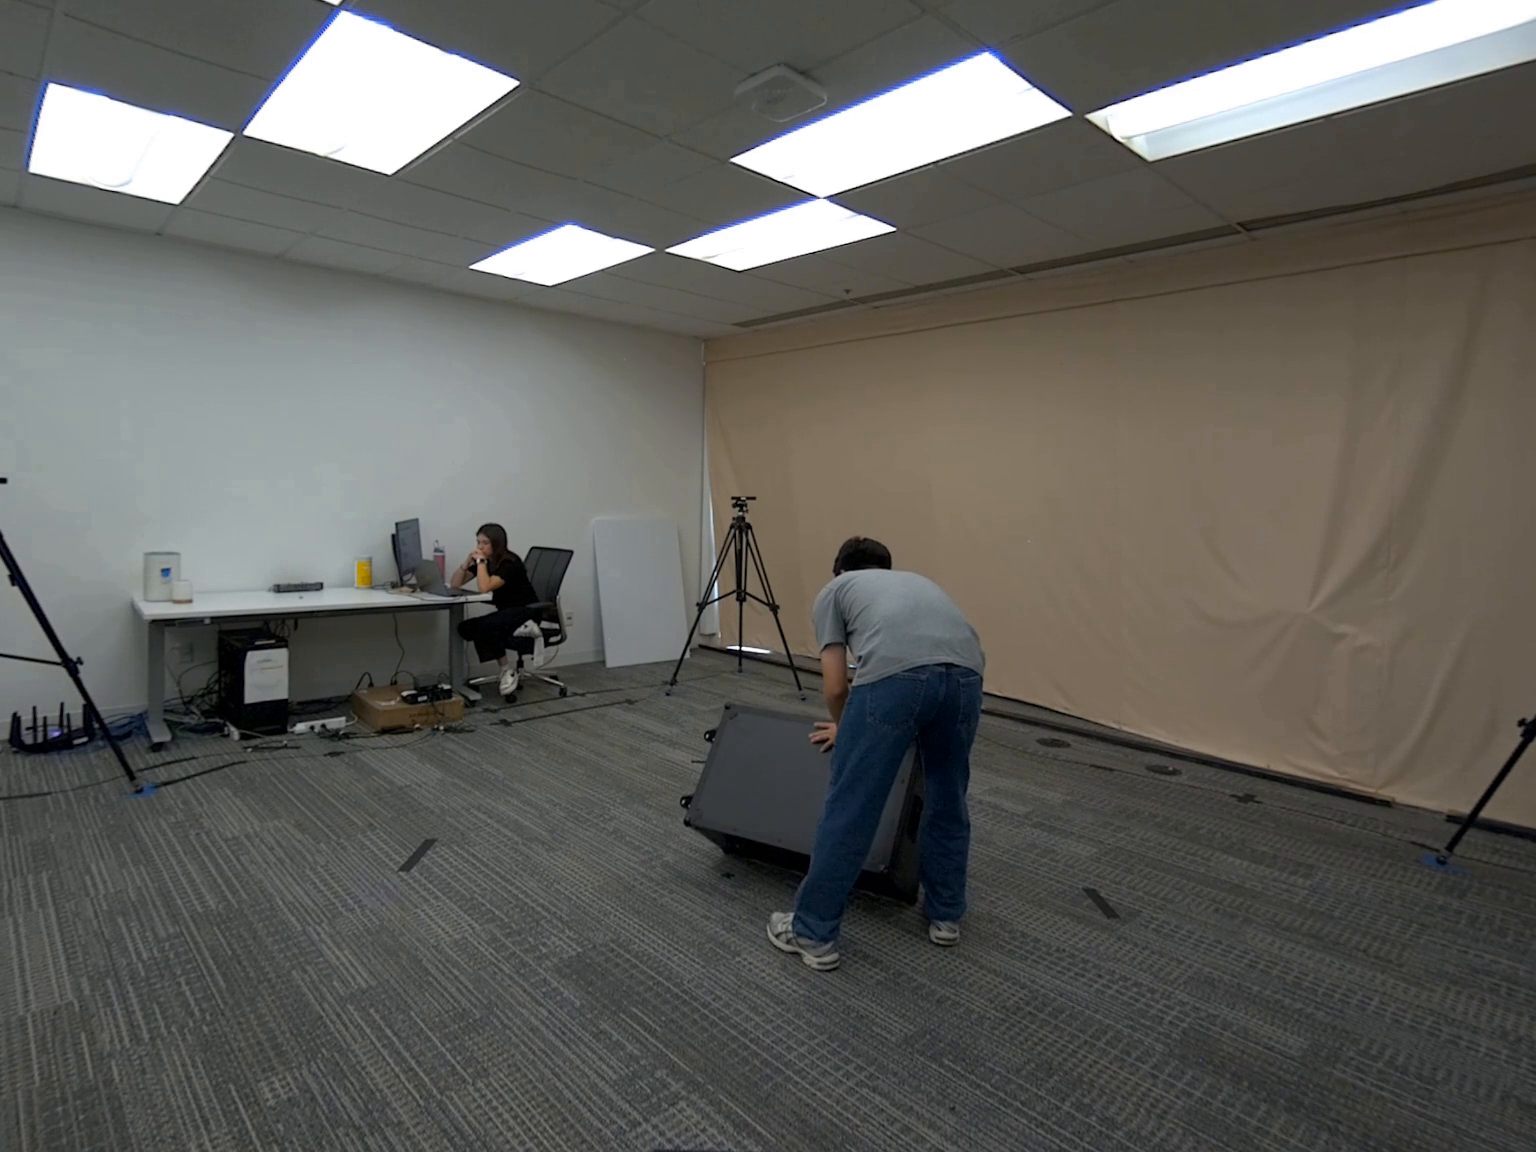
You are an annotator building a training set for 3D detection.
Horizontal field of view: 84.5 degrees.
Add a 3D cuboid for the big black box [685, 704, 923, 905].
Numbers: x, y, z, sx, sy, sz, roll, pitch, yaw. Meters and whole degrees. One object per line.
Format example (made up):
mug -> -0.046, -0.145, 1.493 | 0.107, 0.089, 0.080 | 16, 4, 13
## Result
big black box -> 0.145, 0.811, 3.122 | 0.881, 0.526, 0.384 | 4, -31, 31
